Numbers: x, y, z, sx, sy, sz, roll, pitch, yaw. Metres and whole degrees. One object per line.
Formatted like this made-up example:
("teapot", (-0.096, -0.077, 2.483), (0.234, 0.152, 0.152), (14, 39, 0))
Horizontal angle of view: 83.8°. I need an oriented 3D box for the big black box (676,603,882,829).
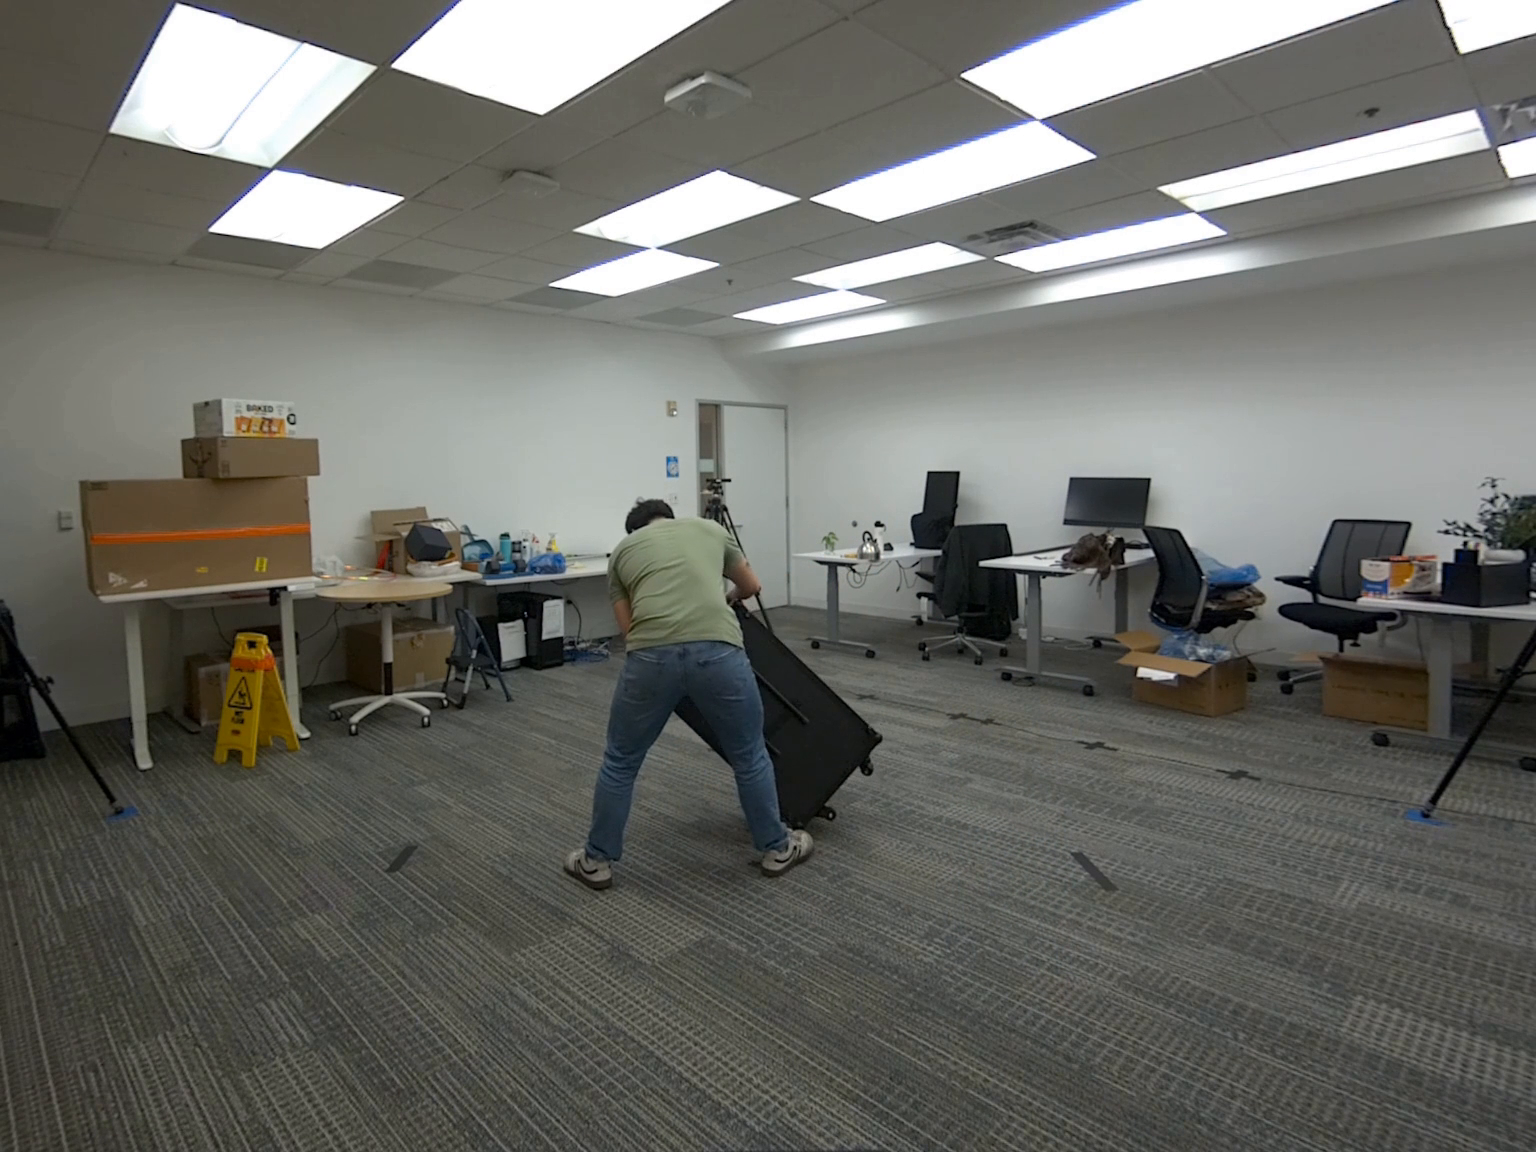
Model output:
("big black box", (0.010, 0.561, 3.437), (0.521, 0.862, 0.396), (-46, 0, -6))
